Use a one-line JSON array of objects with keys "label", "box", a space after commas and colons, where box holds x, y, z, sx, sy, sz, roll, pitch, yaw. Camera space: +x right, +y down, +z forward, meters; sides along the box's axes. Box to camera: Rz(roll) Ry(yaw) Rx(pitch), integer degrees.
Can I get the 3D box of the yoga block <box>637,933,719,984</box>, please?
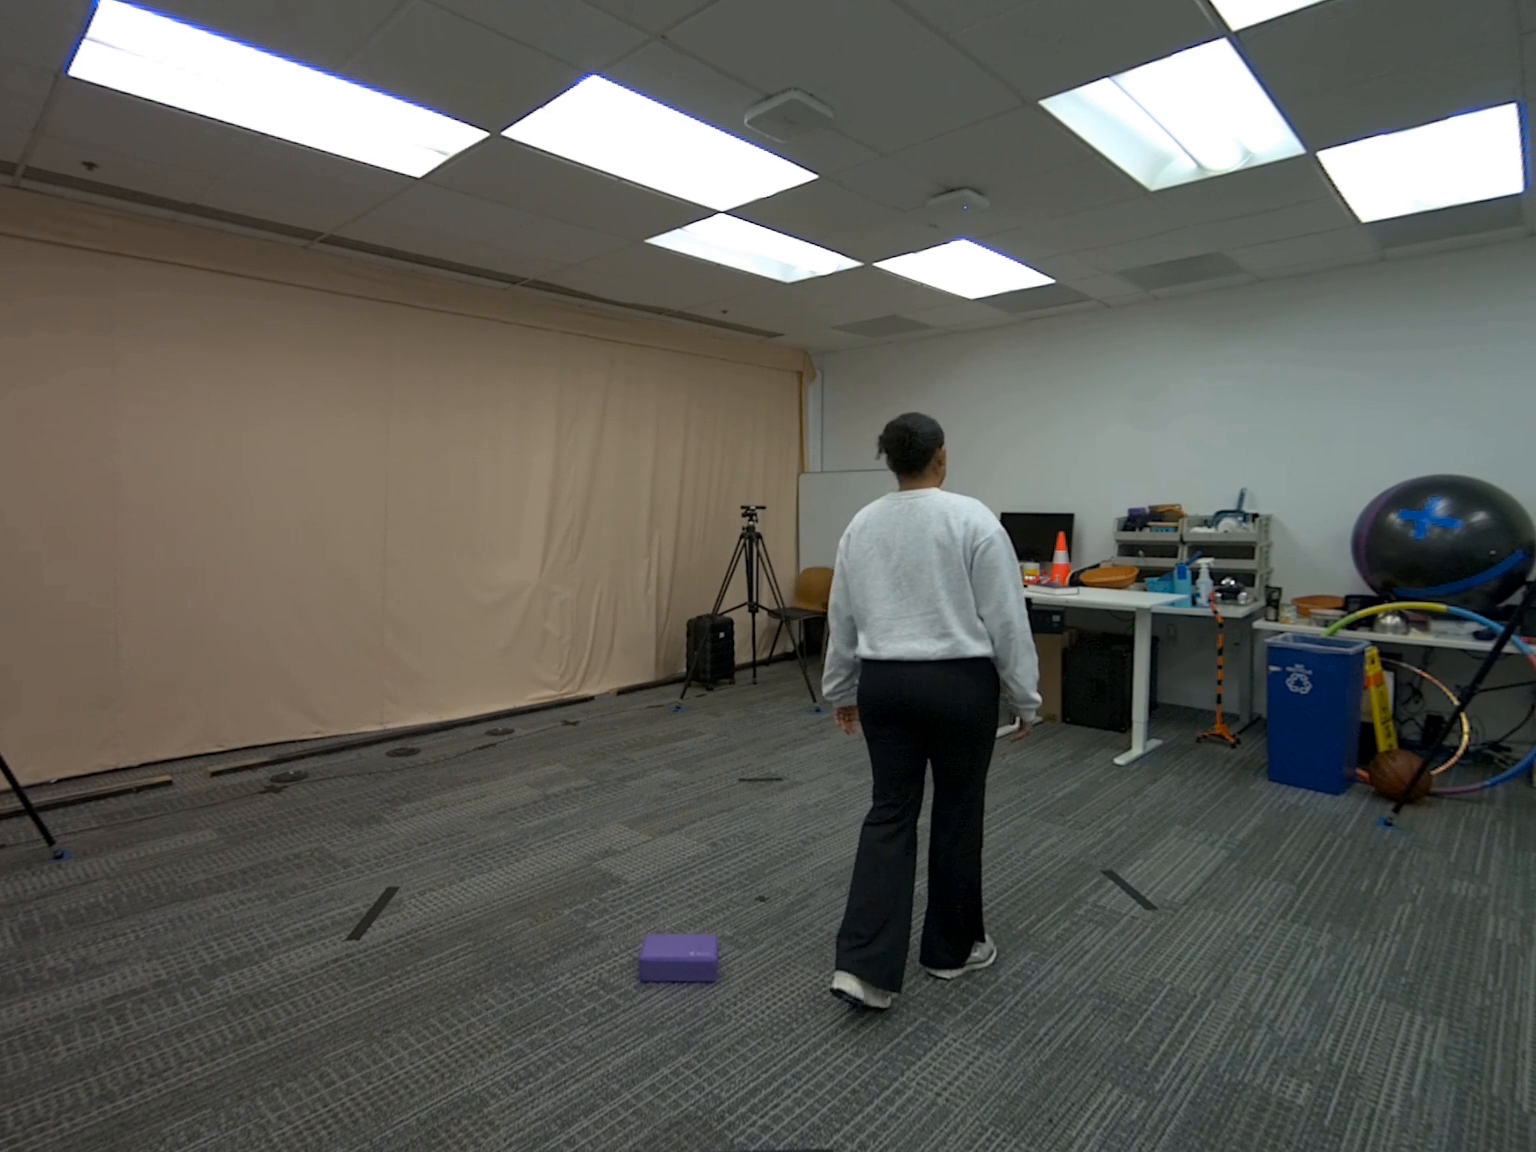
[{"label": "yoga block", "box": [-0.264, 1.145, 2.520, 0.230, 0.076, 0.149, 0, 3, 2]}]
